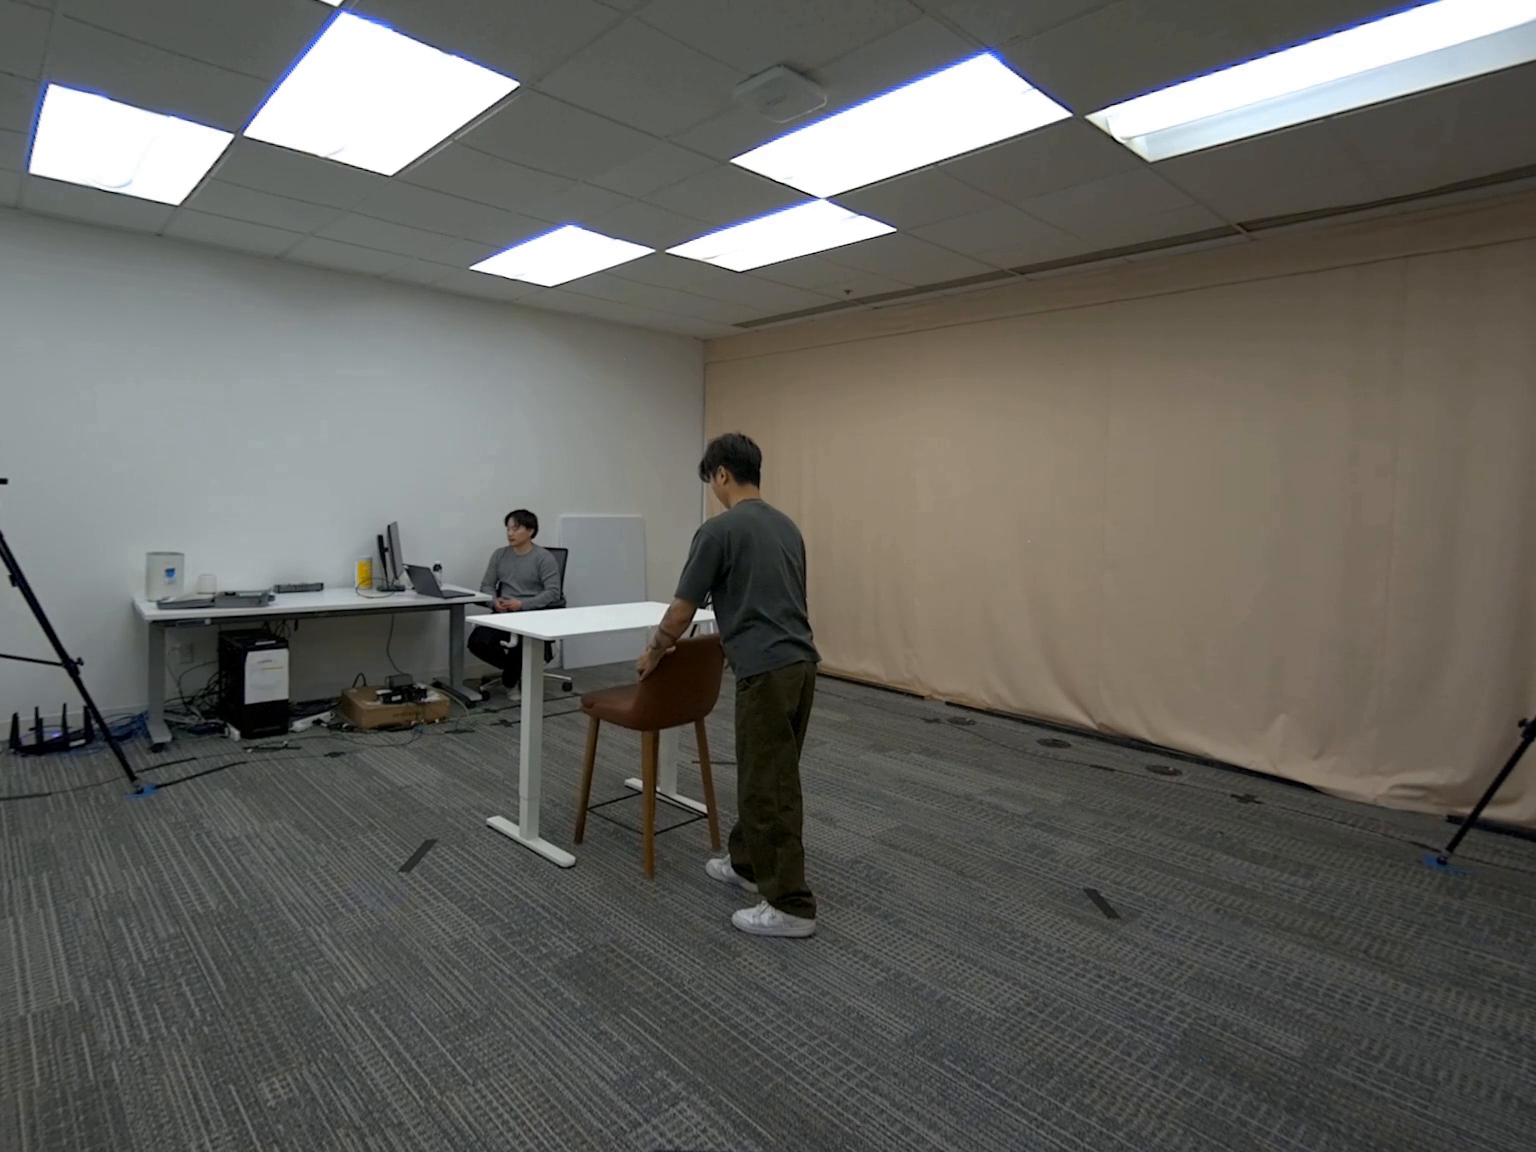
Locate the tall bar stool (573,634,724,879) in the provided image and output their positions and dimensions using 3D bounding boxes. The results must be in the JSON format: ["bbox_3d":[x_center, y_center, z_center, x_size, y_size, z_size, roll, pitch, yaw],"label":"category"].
[{"bbox_3d":[-0.458,0.638,3.316,0.480,0.886,0.446,10,8,43],"label":"tall bar stool"}]
